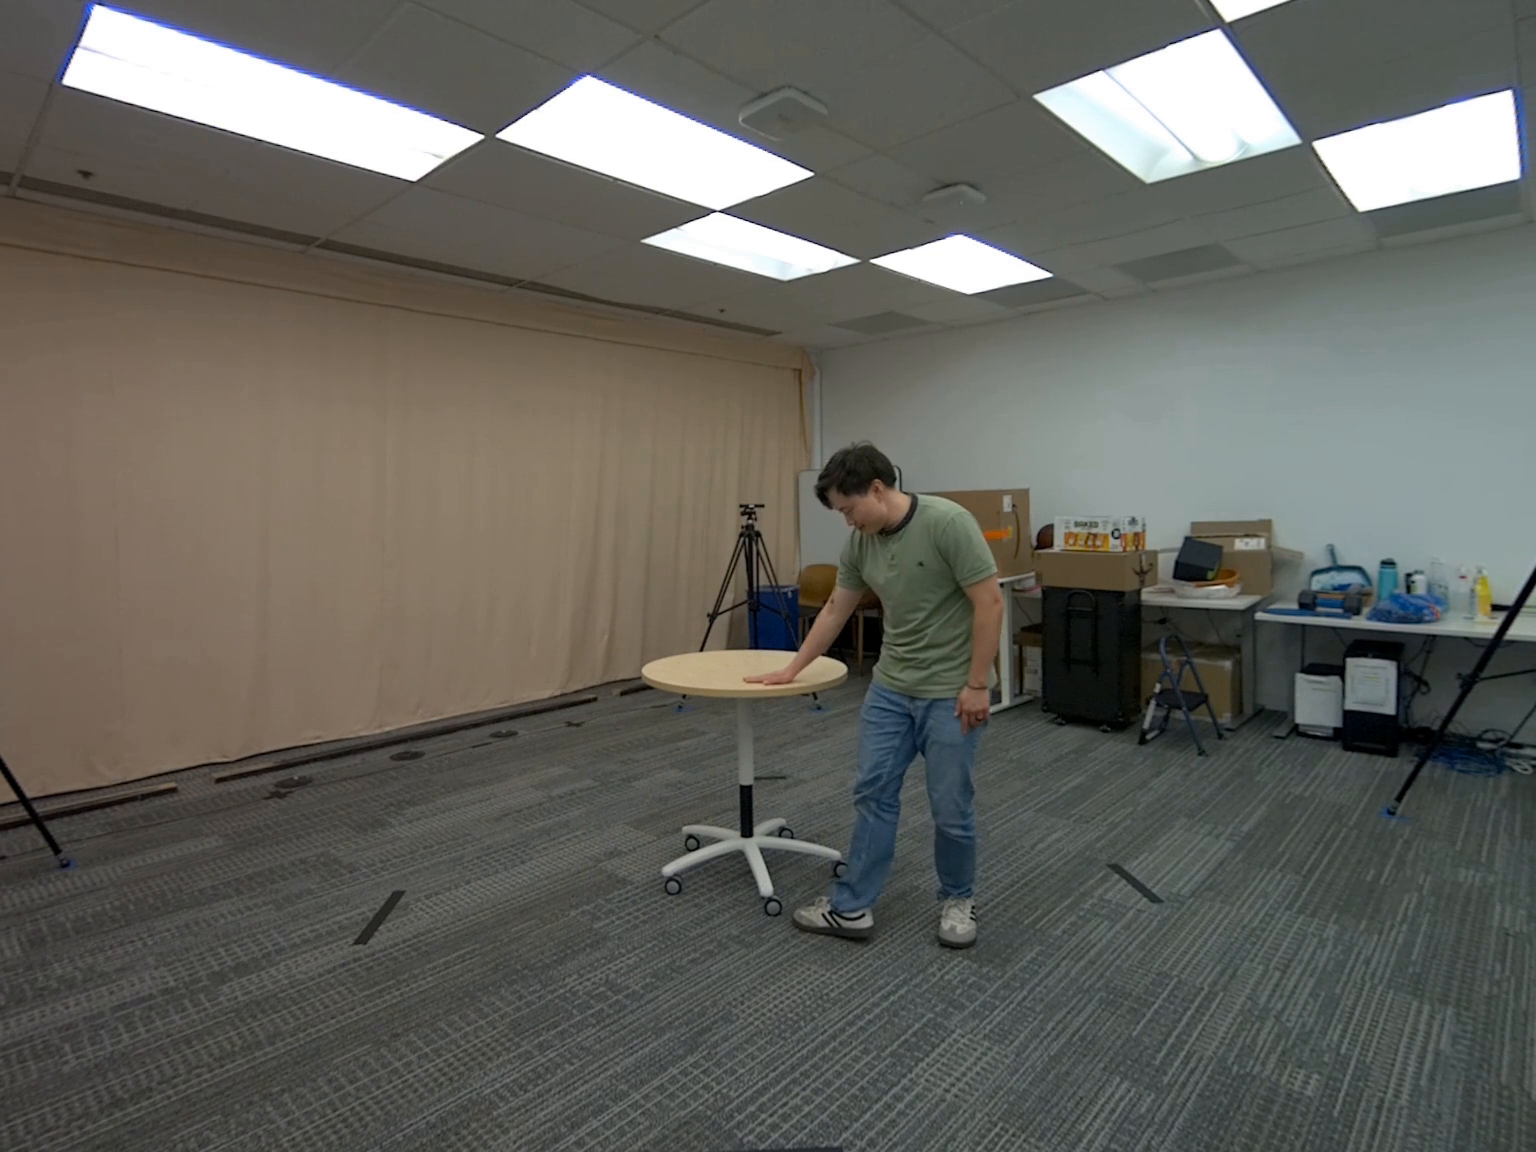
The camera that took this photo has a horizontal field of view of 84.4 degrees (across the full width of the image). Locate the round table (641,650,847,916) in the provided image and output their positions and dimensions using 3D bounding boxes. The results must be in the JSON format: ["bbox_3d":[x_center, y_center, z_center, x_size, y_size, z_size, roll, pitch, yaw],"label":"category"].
[{"bbox_3d":[-0.081,0.736,3.172,0.763,0.792,0.766,-1,4,-2],"label":"round table"}]
